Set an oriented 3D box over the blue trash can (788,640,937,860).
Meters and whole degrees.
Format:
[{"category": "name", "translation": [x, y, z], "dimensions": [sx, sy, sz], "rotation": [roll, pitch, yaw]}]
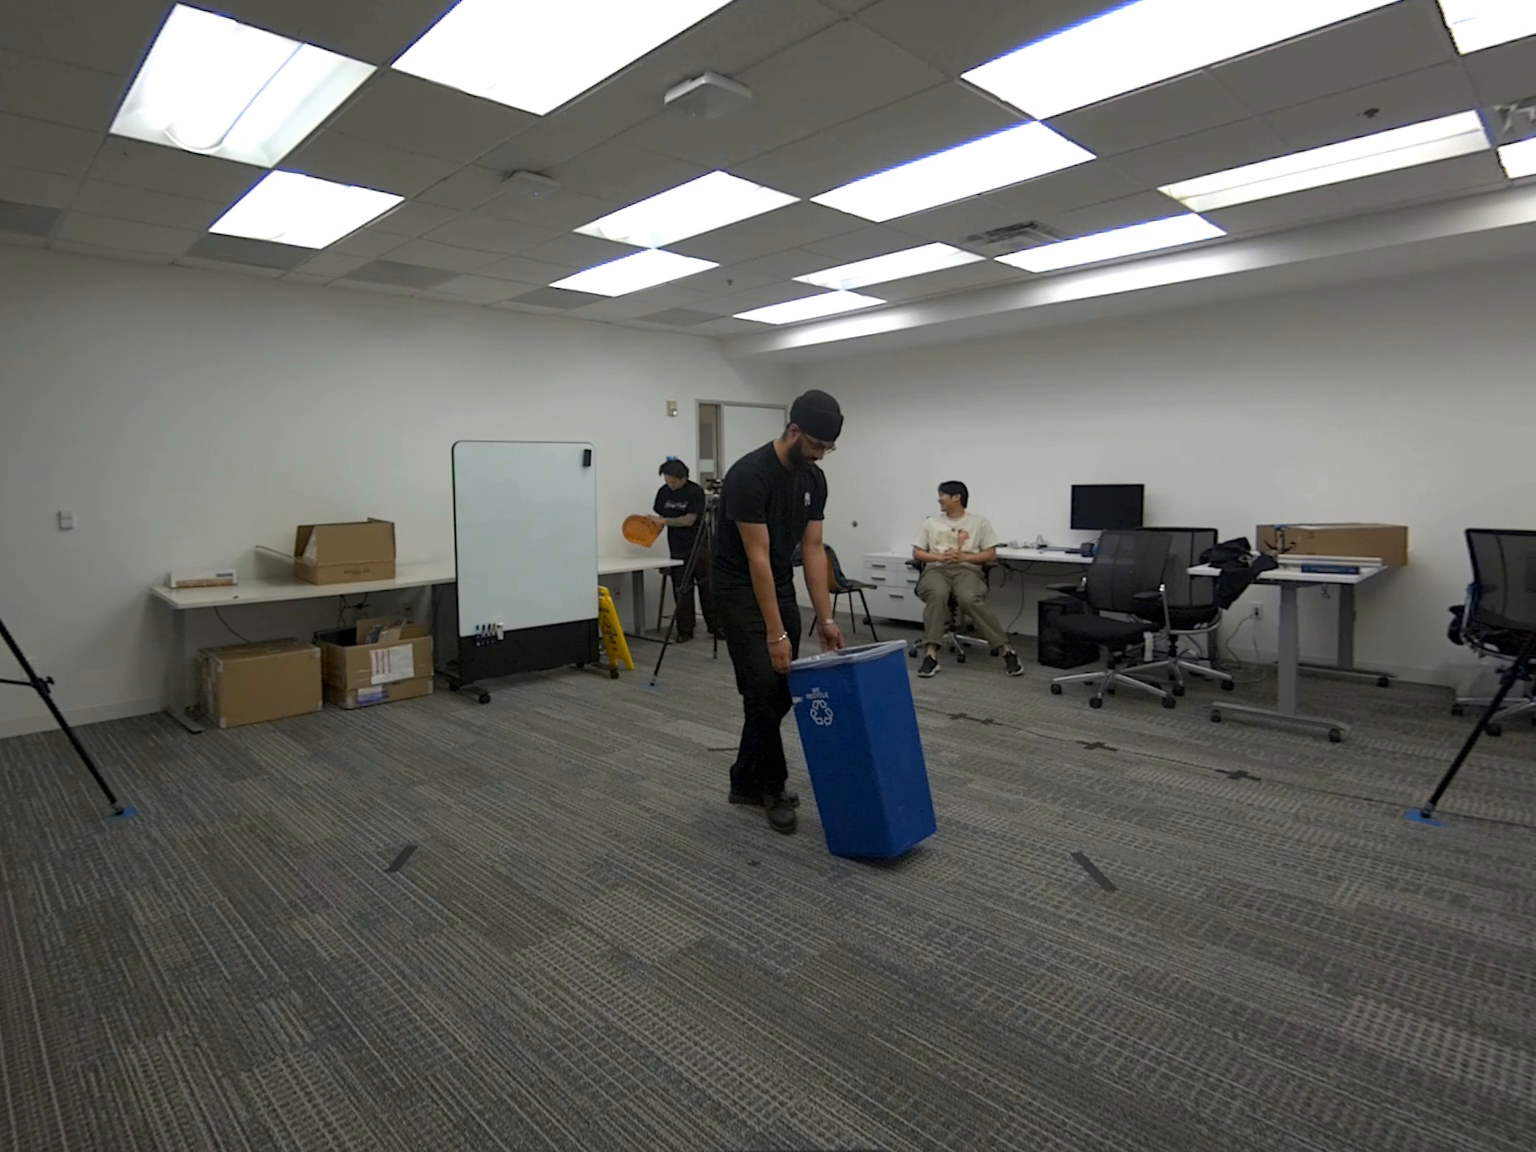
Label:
[{"category": "blue trash can", "translation": [0.349, 0.644, 3.216], "dimensions": [0.382, 0.718, 0.368], "rotation": [-16, -7, 42]}]
